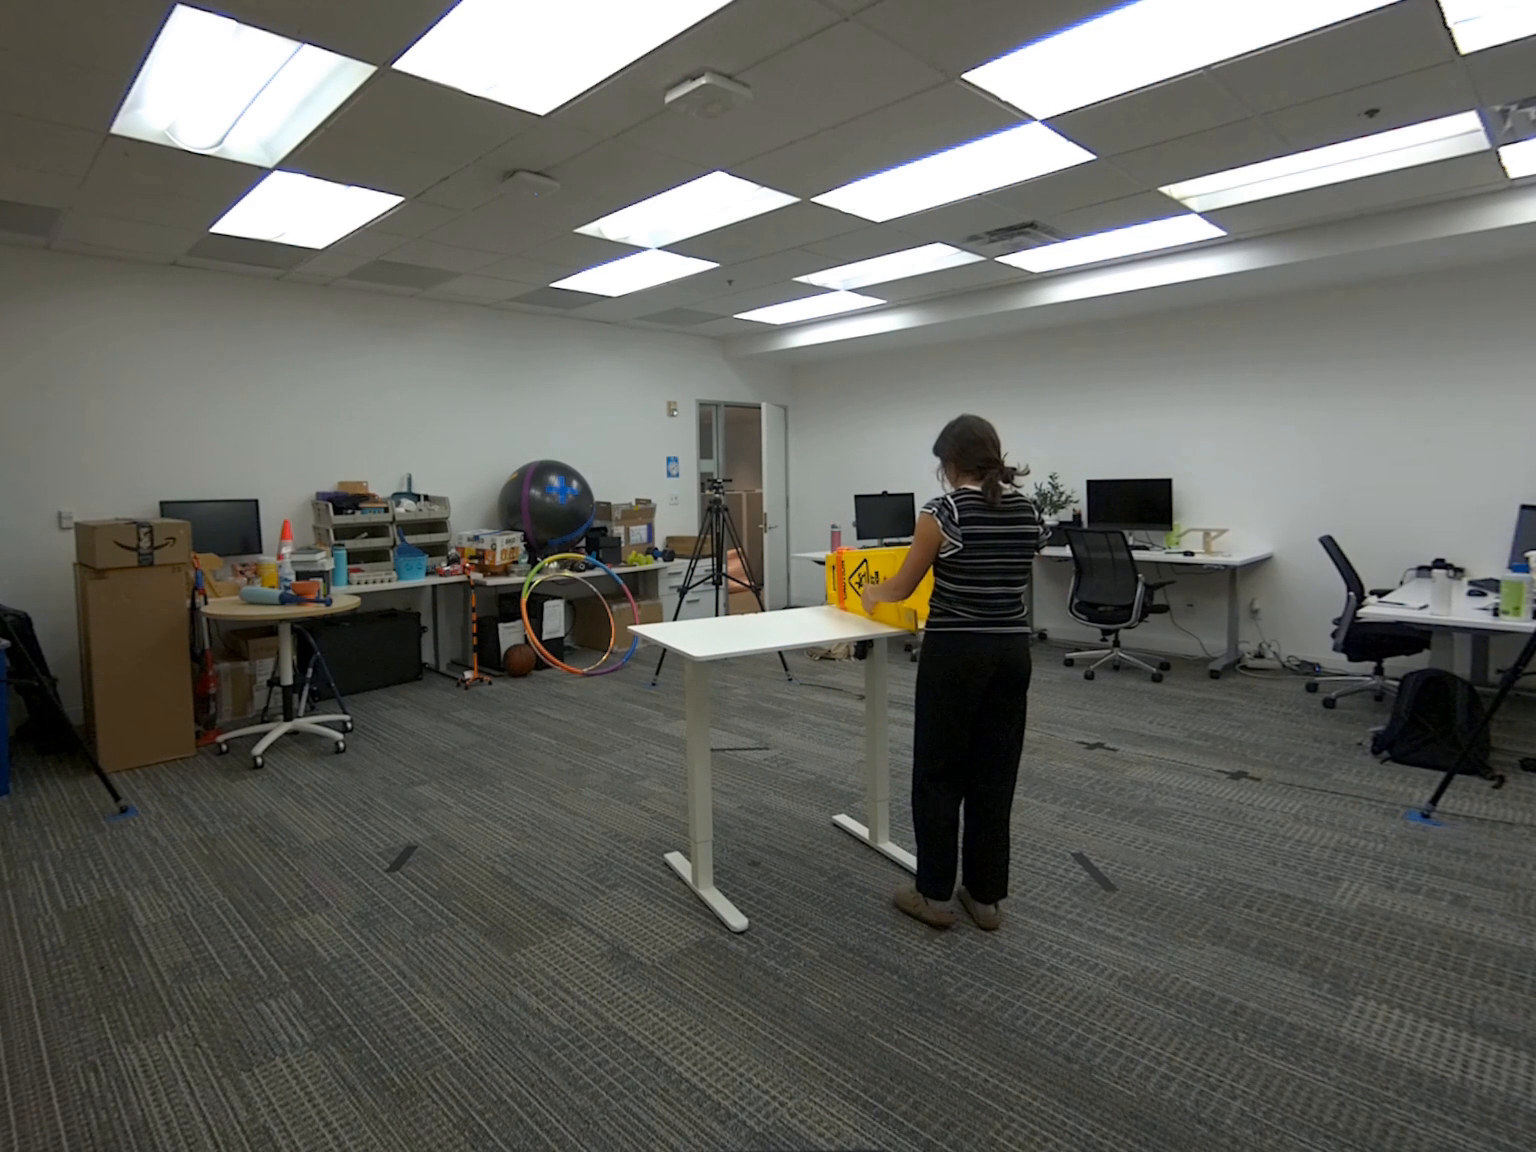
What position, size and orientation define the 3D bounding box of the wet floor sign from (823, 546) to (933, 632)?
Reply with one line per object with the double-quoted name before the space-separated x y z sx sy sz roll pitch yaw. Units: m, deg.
"wet floor sign" 0.405 0.023 3.150 0.283 0.282 0.663 -3 3 -31
